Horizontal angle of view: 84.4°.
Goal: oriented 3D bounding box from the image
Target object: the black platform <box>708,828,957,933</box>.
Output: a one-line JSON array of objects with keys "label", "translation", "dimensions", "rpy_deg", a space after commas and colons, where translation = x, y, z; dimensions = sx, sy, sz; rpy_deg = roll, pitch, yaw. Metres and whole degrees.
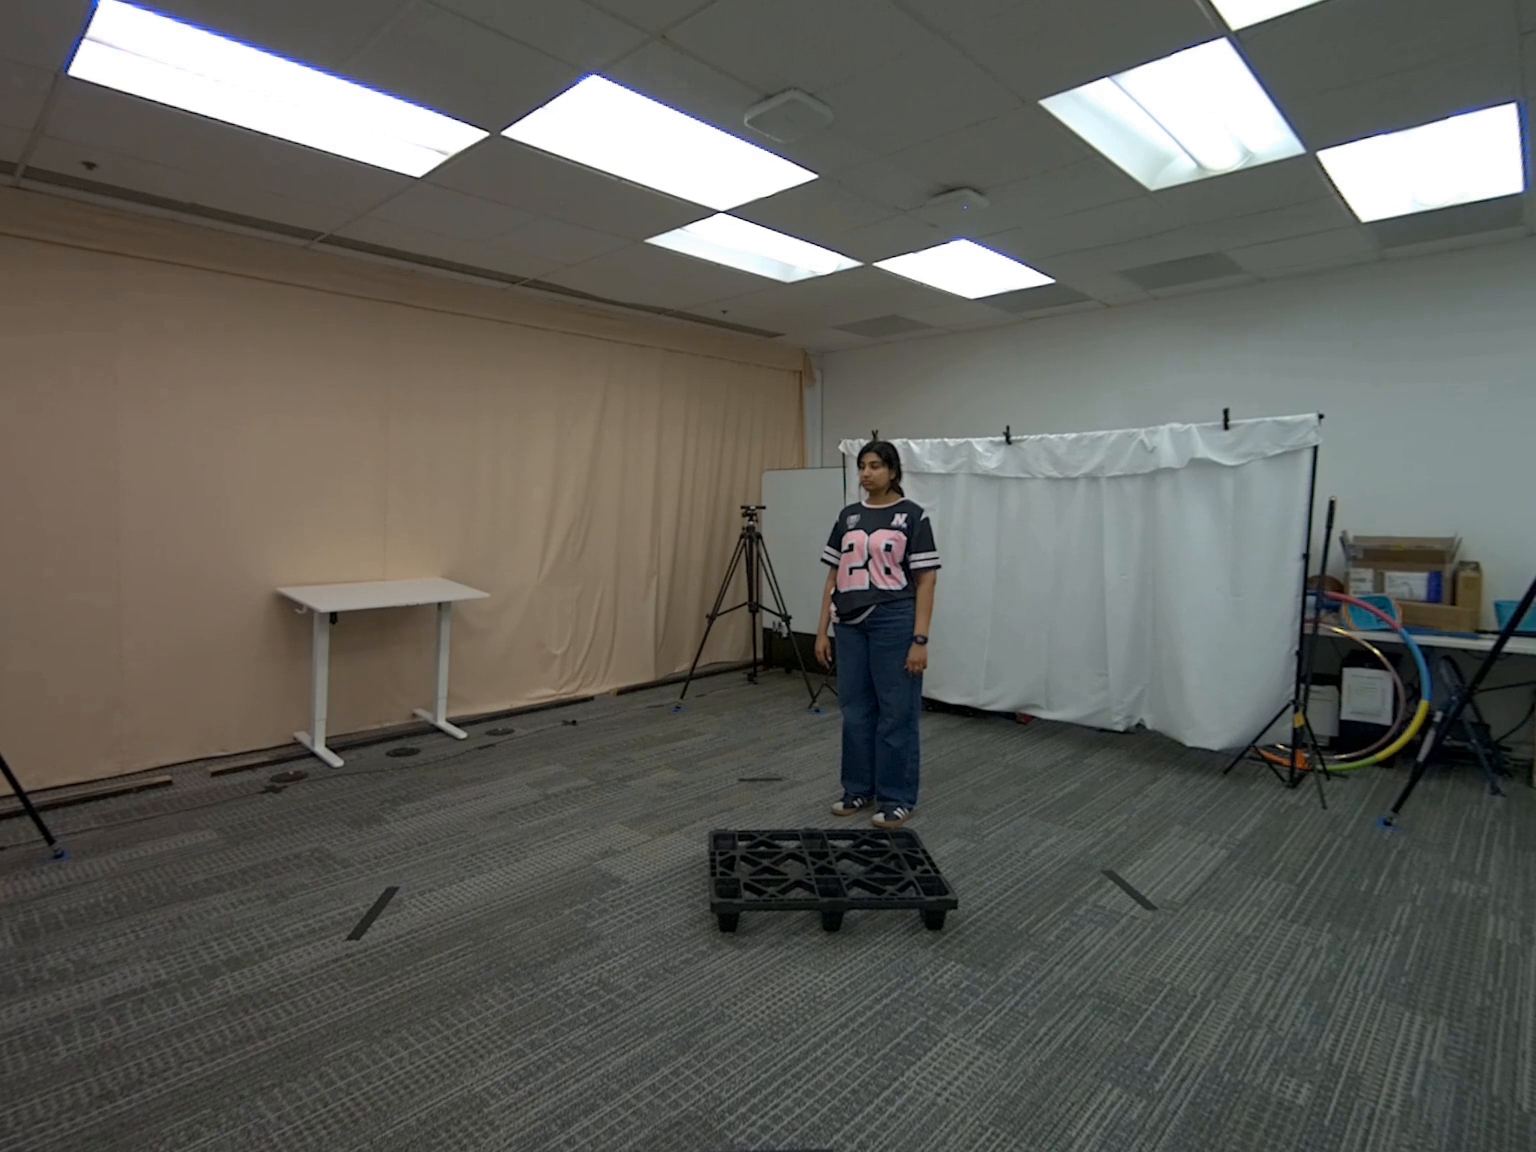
[{"label": "black platform", "translation": [0.194, 1.076, 2.975], "dimensions": [0.804, 0.143, 0.608], "rpy_deg": [-1, 5, -2]}]
